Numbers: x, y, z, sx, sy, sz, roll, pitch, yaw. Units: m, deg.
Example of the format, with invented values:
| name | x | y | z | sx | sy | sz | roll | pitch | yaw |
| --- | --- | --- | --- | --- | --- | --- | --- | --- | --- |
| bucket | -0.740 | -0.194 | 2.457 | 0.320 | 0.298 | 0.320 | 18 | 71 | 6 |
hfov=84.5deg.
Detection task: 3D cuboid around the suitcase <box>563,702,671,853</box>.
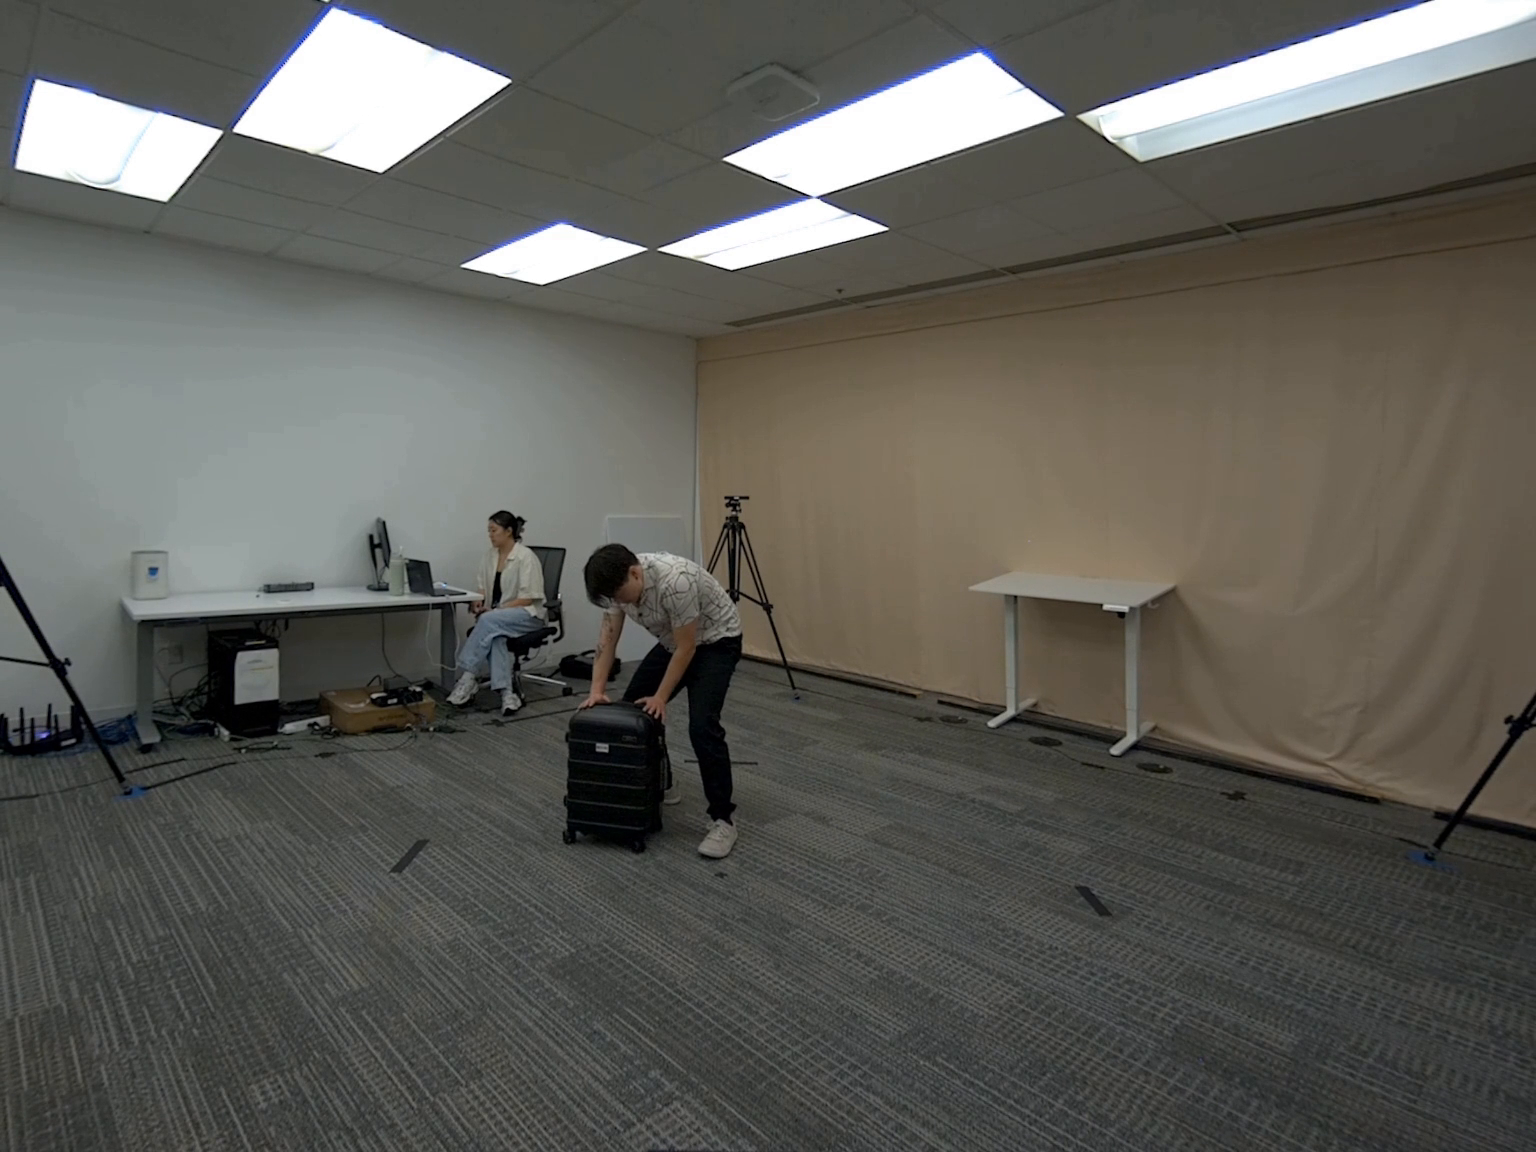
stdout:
| name | x | y | z | sx | sy | sz | roll | pitch | yaw |
| --- | --- | --- | --- | --- | --- | --- | --- | --- | --- |
| suitcase | -0.623 | 0.796 | 3.392 | 0.380 | 0.547 | 0.246 | 3 | 5 | 13 |
